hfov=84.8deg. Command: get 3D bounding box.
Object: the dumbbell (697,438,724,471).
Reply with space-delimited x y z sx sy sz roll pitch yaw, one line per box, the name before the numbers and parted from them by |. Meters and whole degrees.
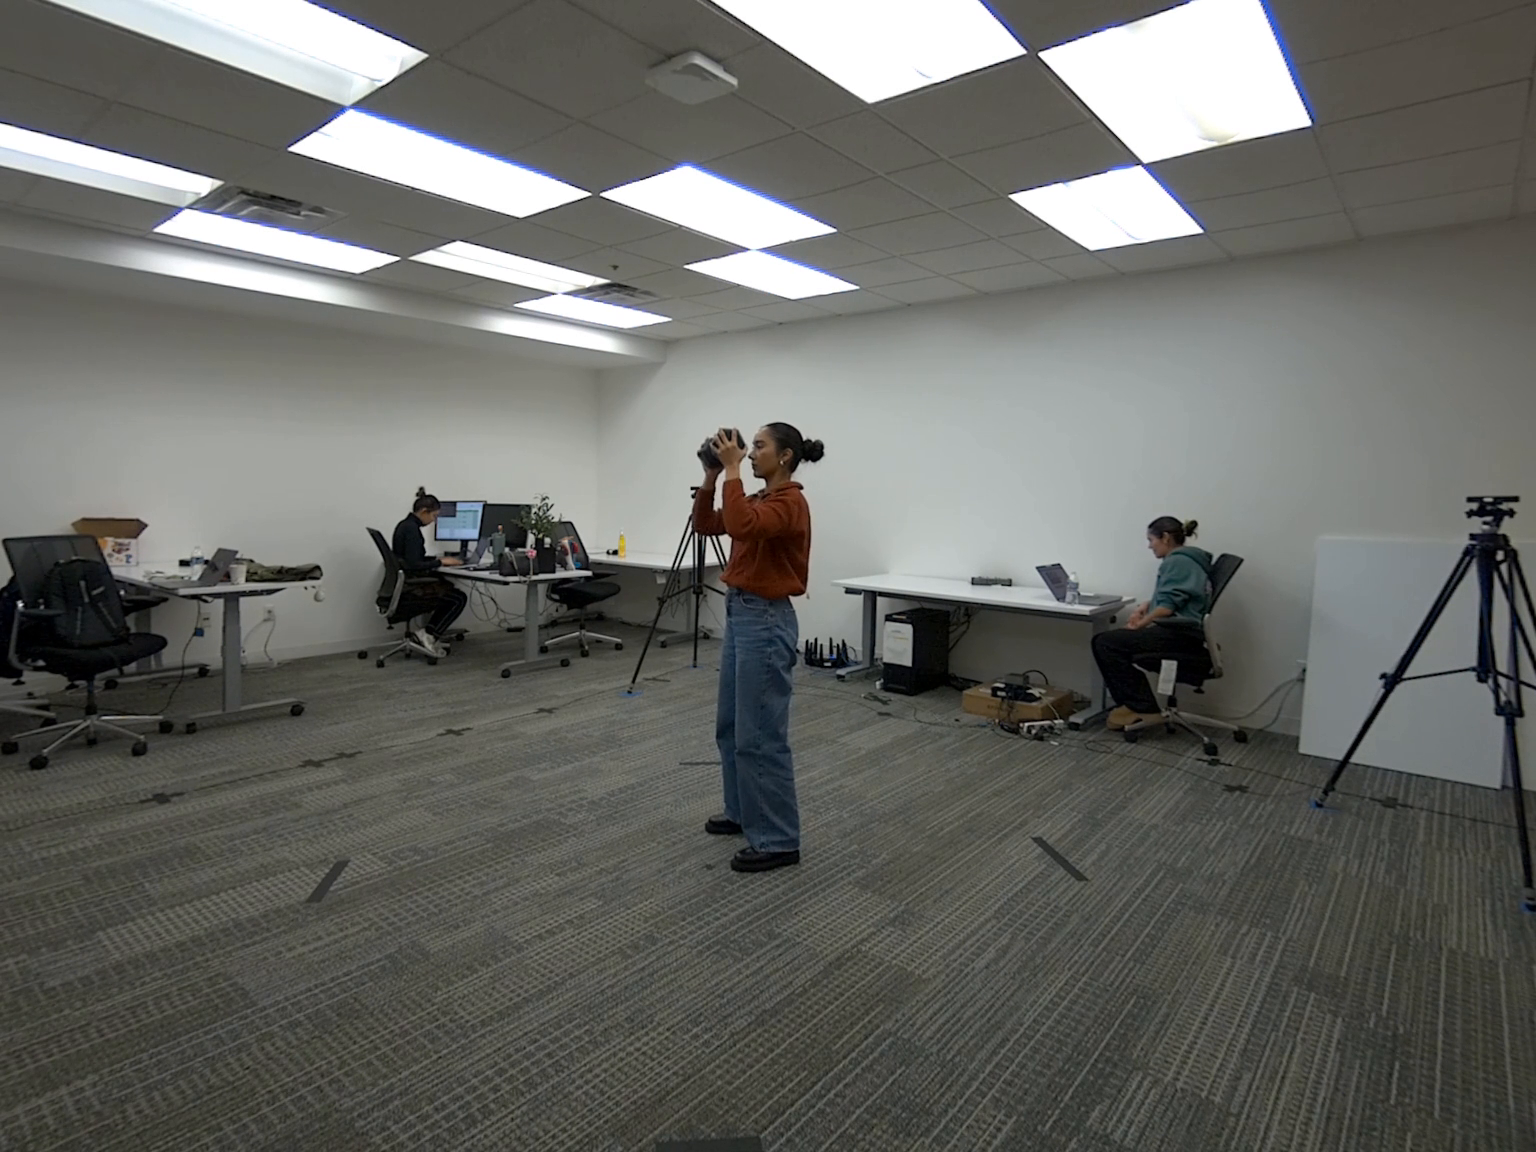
dumbbell | -0.175 -0.480 3.218 0.107 0.123 0.296 34 -9 -10
